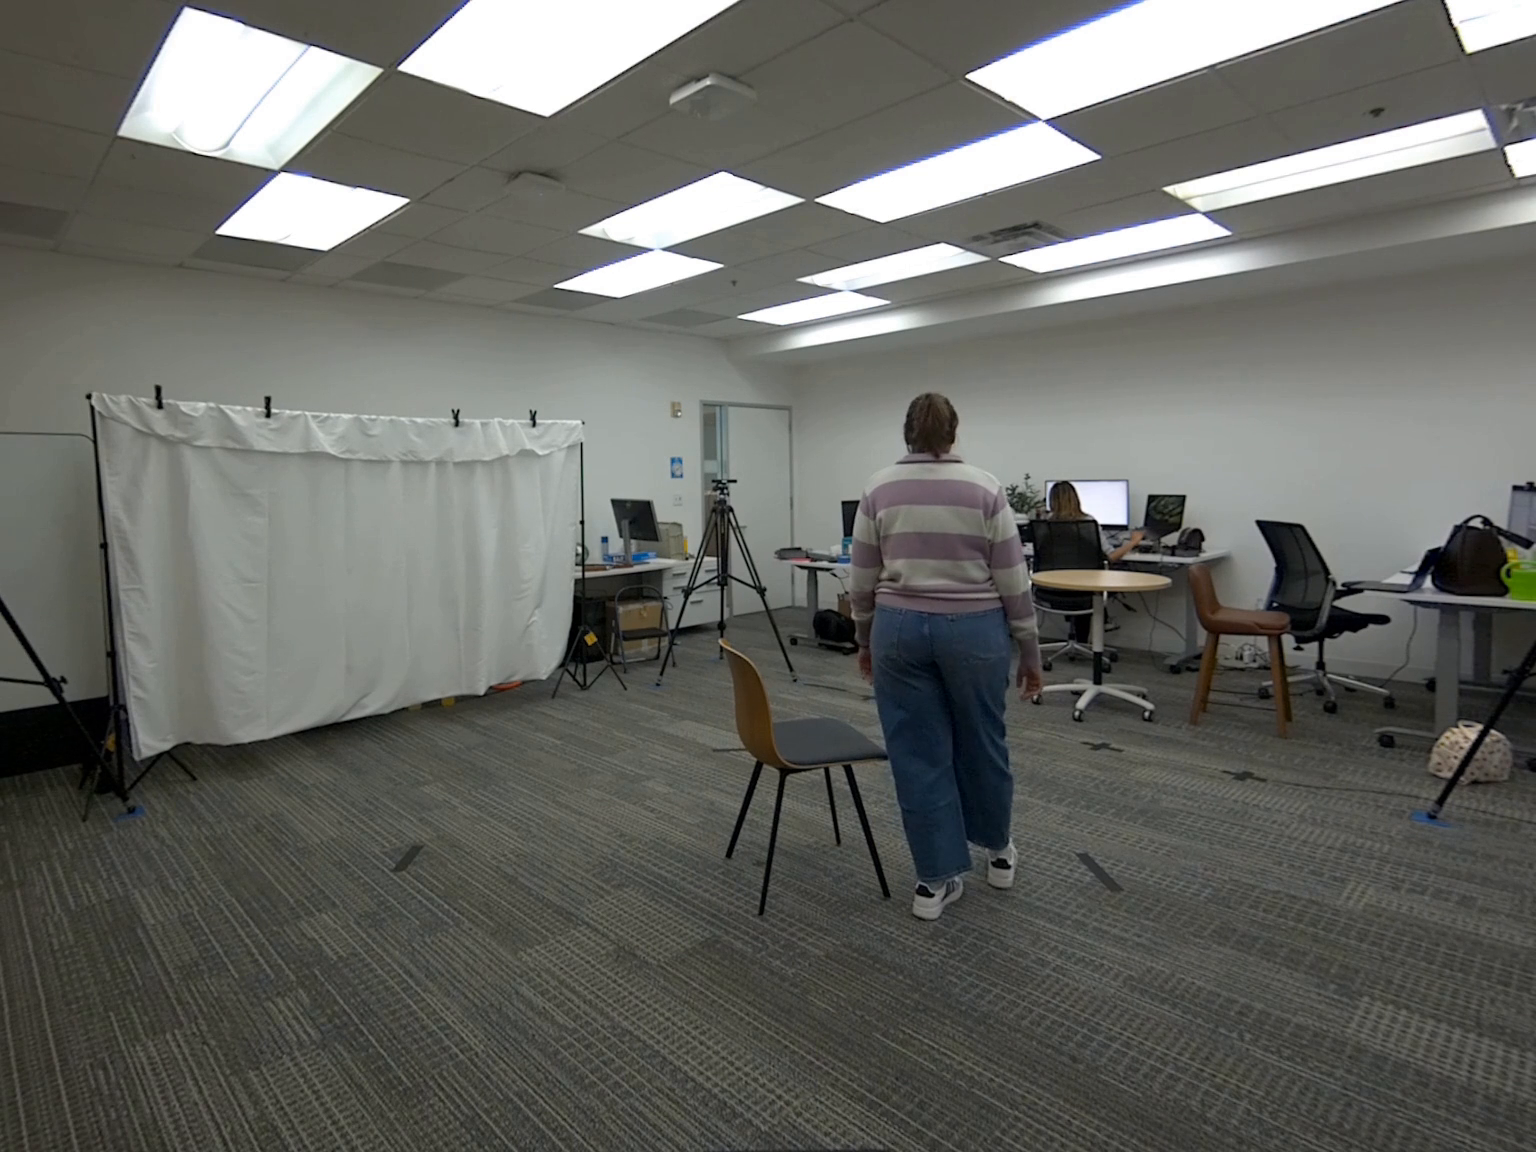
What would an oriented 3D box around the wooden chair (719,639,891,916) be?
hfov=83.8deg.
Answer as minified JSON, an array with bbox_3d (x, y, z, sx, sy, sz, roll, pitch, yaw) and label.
[{"bbox_3d":[0.129,0.631,2.974,0.517,0.874,0.486,-6,5,-15],"label":"wooden chair"}]
